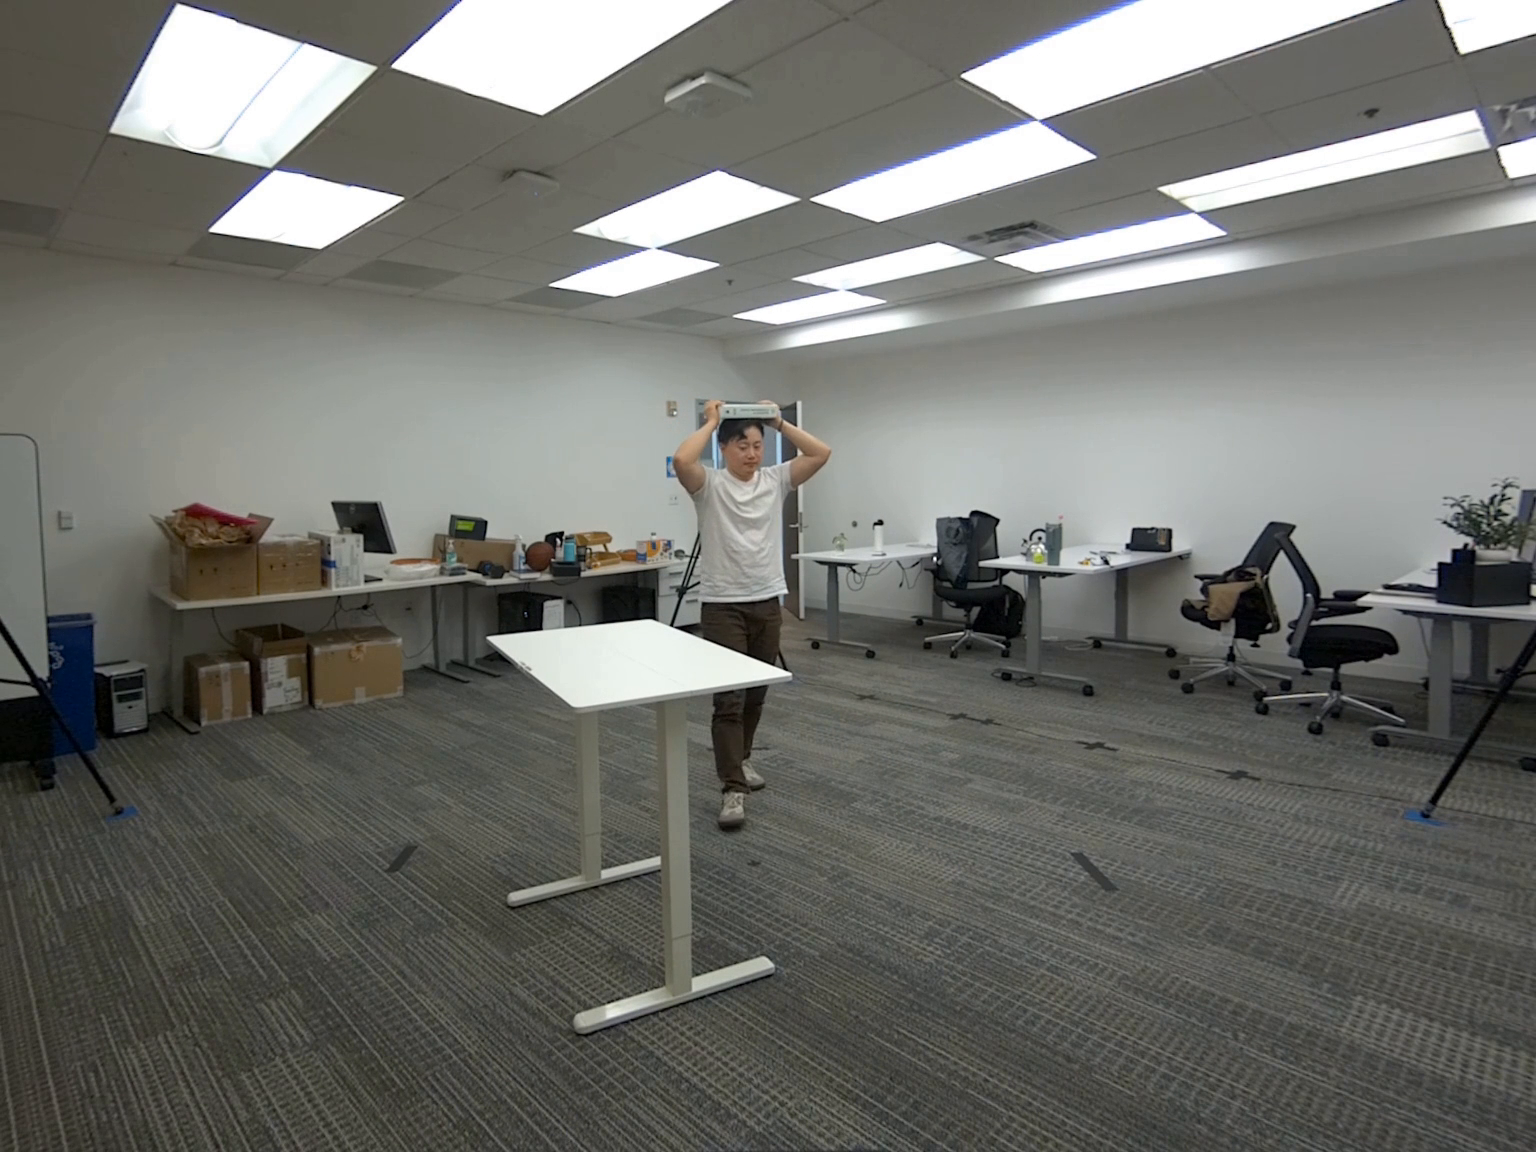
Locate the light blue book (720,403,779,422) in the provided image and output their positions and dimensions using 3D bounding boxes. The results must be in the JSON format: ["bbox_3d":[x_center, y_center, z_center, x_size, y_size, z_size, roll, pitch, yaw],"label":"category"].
[{"bbox_3d":[-0.111,-0.709,3.654,0.255,0.058,0.197,-6,11,-27],"label":"light blue book"}]
